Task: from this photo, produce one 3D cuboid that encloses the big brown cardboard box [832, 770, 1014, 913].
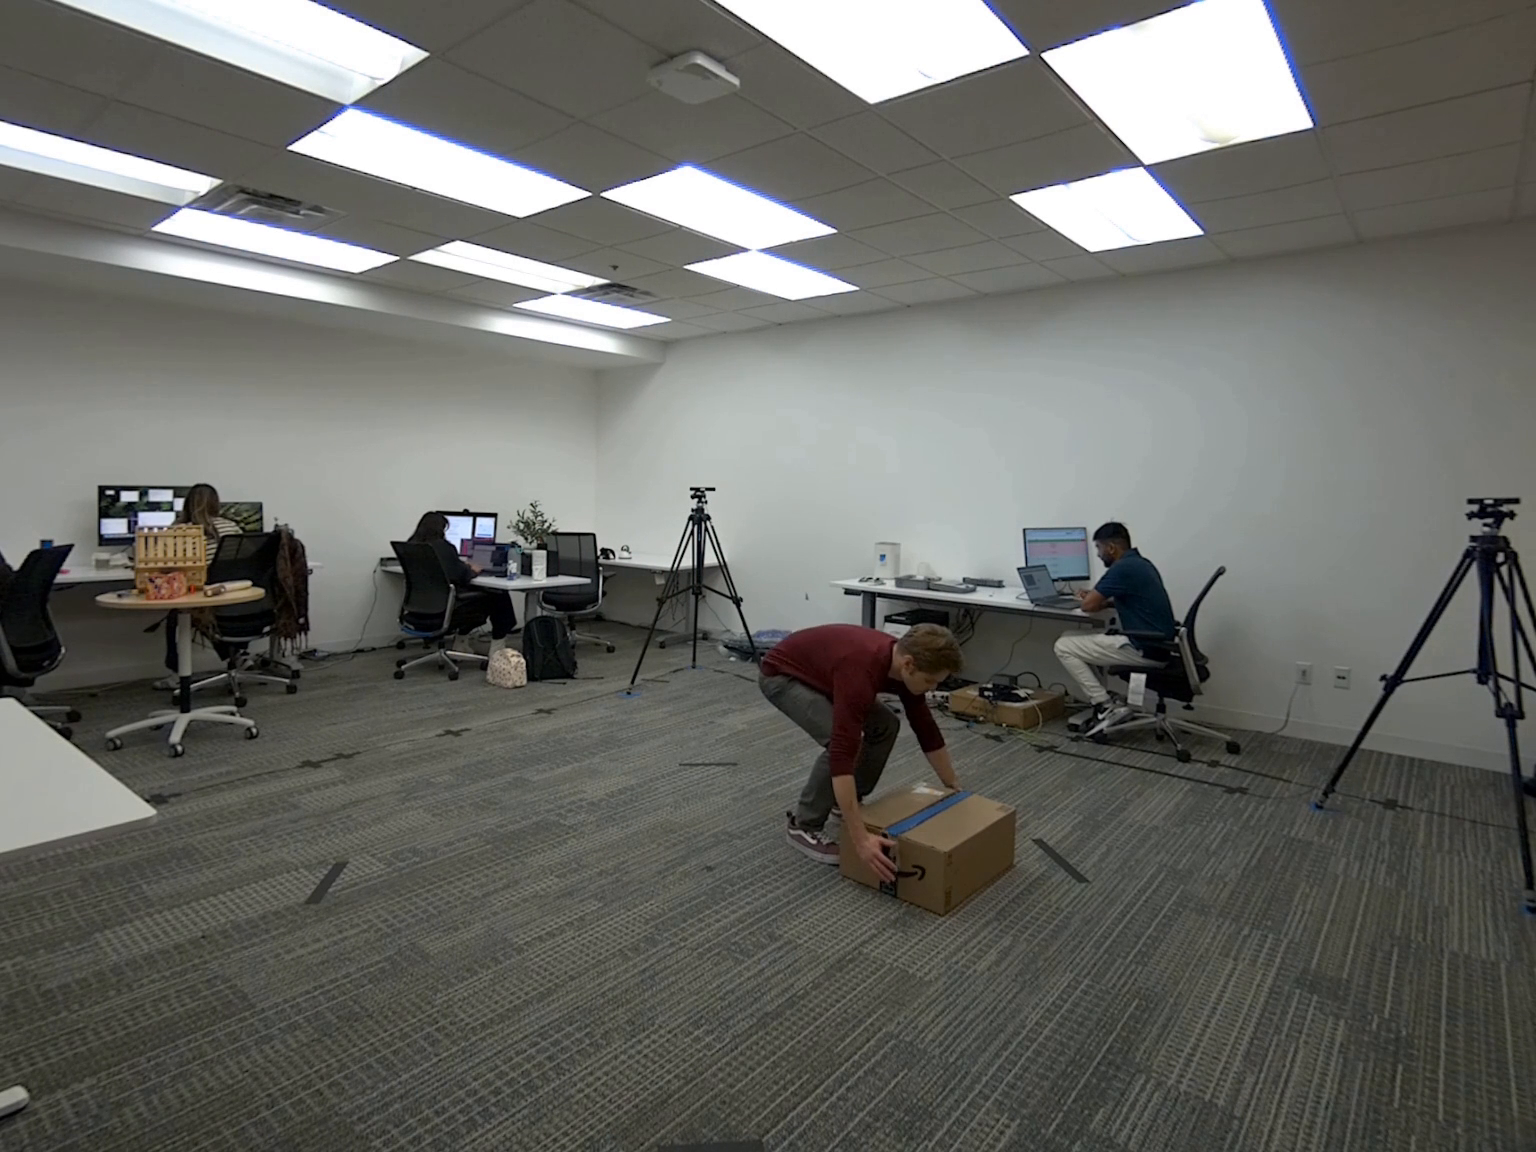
[{"bbox_3d":[0.585,0.960,3.138,0.432,0.232,0.571,6,7,40],"label":"big brown cardboard box"}]
